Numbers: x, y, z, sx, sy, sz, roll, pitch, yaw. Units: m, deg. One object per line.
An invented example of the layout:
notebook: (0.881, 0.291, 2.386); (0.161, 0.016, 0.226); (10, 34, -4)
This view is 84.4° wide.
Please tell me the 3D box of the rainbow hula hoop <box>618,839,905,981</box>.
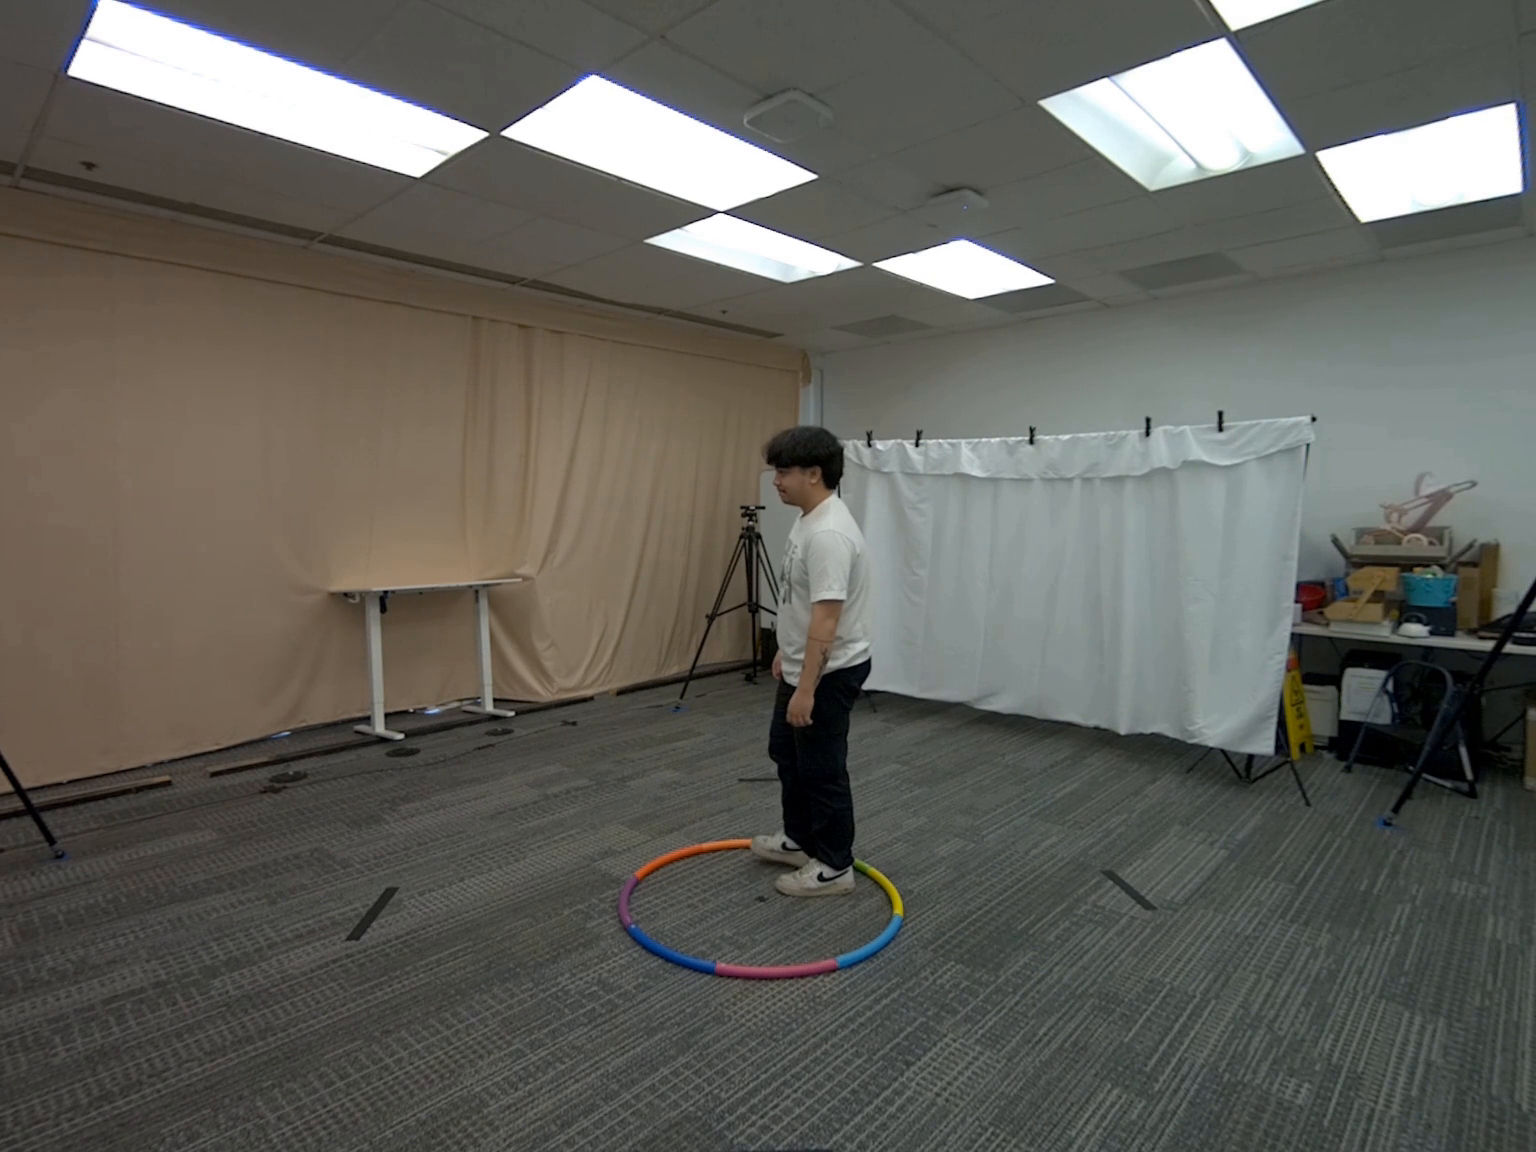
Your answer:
rainbow hula hoop: (-0.027, 1.121, 2.955); (0.985, 0.051, 0.989); (0, 5, -2)
